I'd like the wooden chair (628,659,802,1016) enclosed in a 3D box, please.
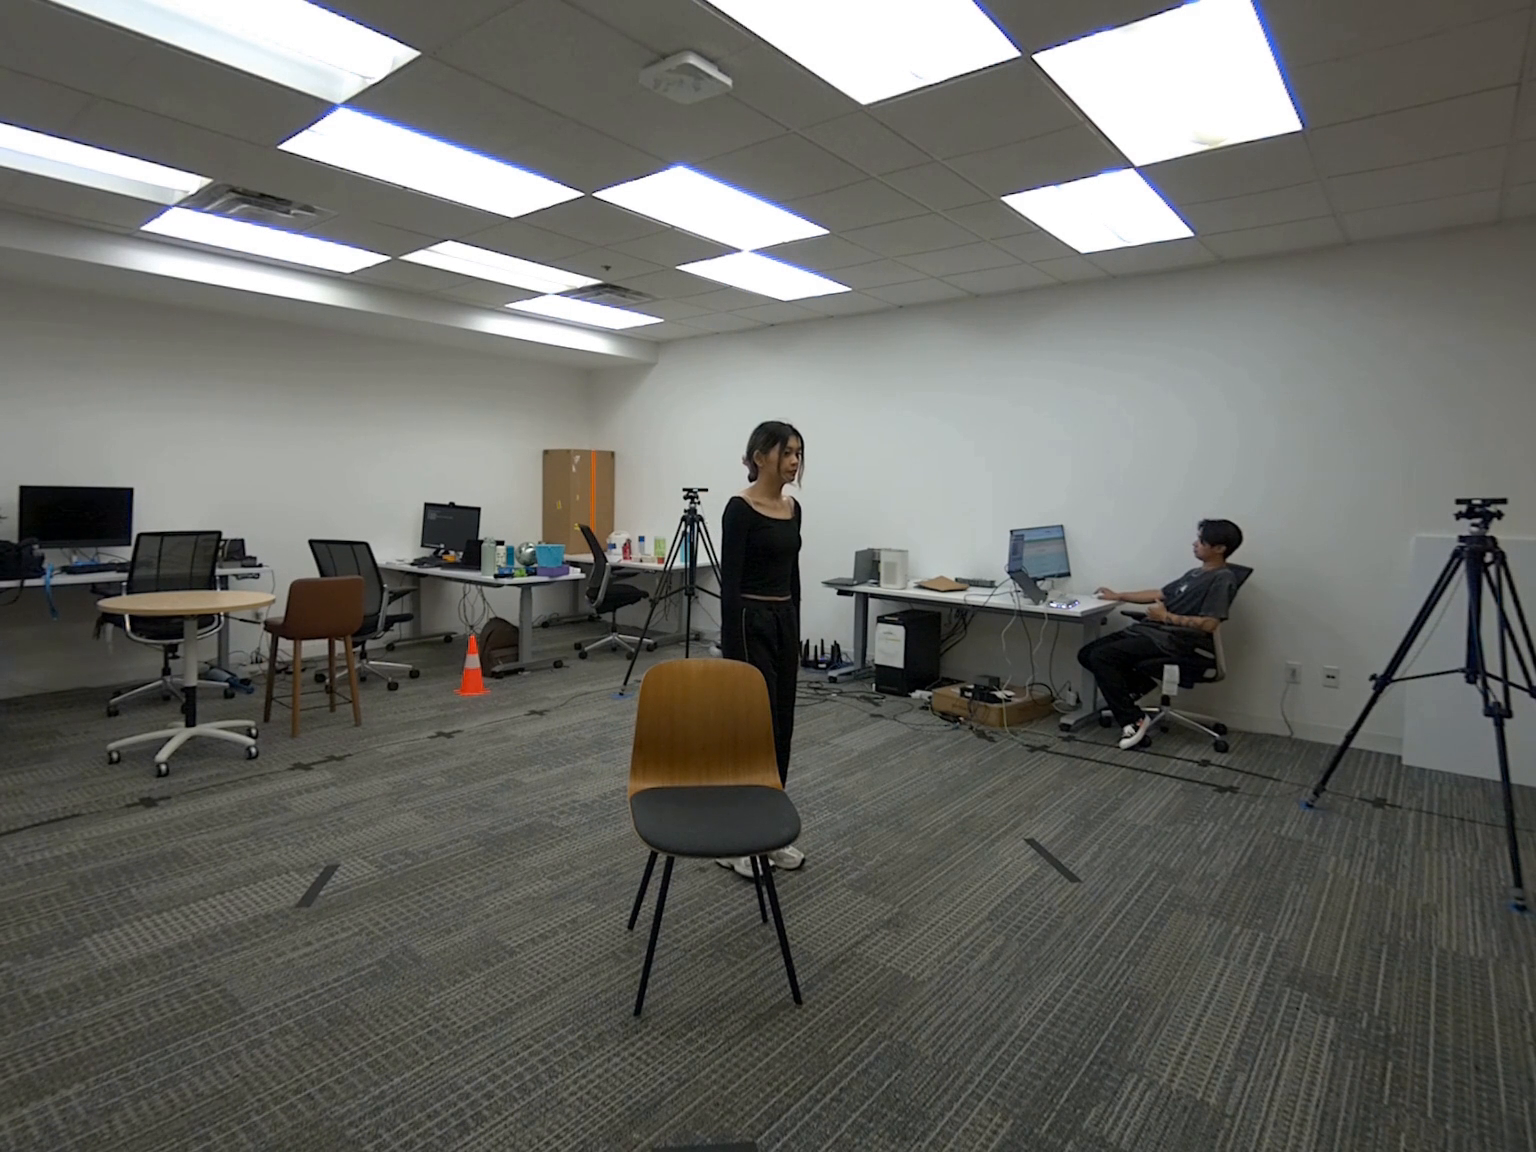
[{"bbox_3d":[-0.169,0.710,2.450,0.473,0.878,0.529,1,0,-11],"label":"wooden chair"}]
